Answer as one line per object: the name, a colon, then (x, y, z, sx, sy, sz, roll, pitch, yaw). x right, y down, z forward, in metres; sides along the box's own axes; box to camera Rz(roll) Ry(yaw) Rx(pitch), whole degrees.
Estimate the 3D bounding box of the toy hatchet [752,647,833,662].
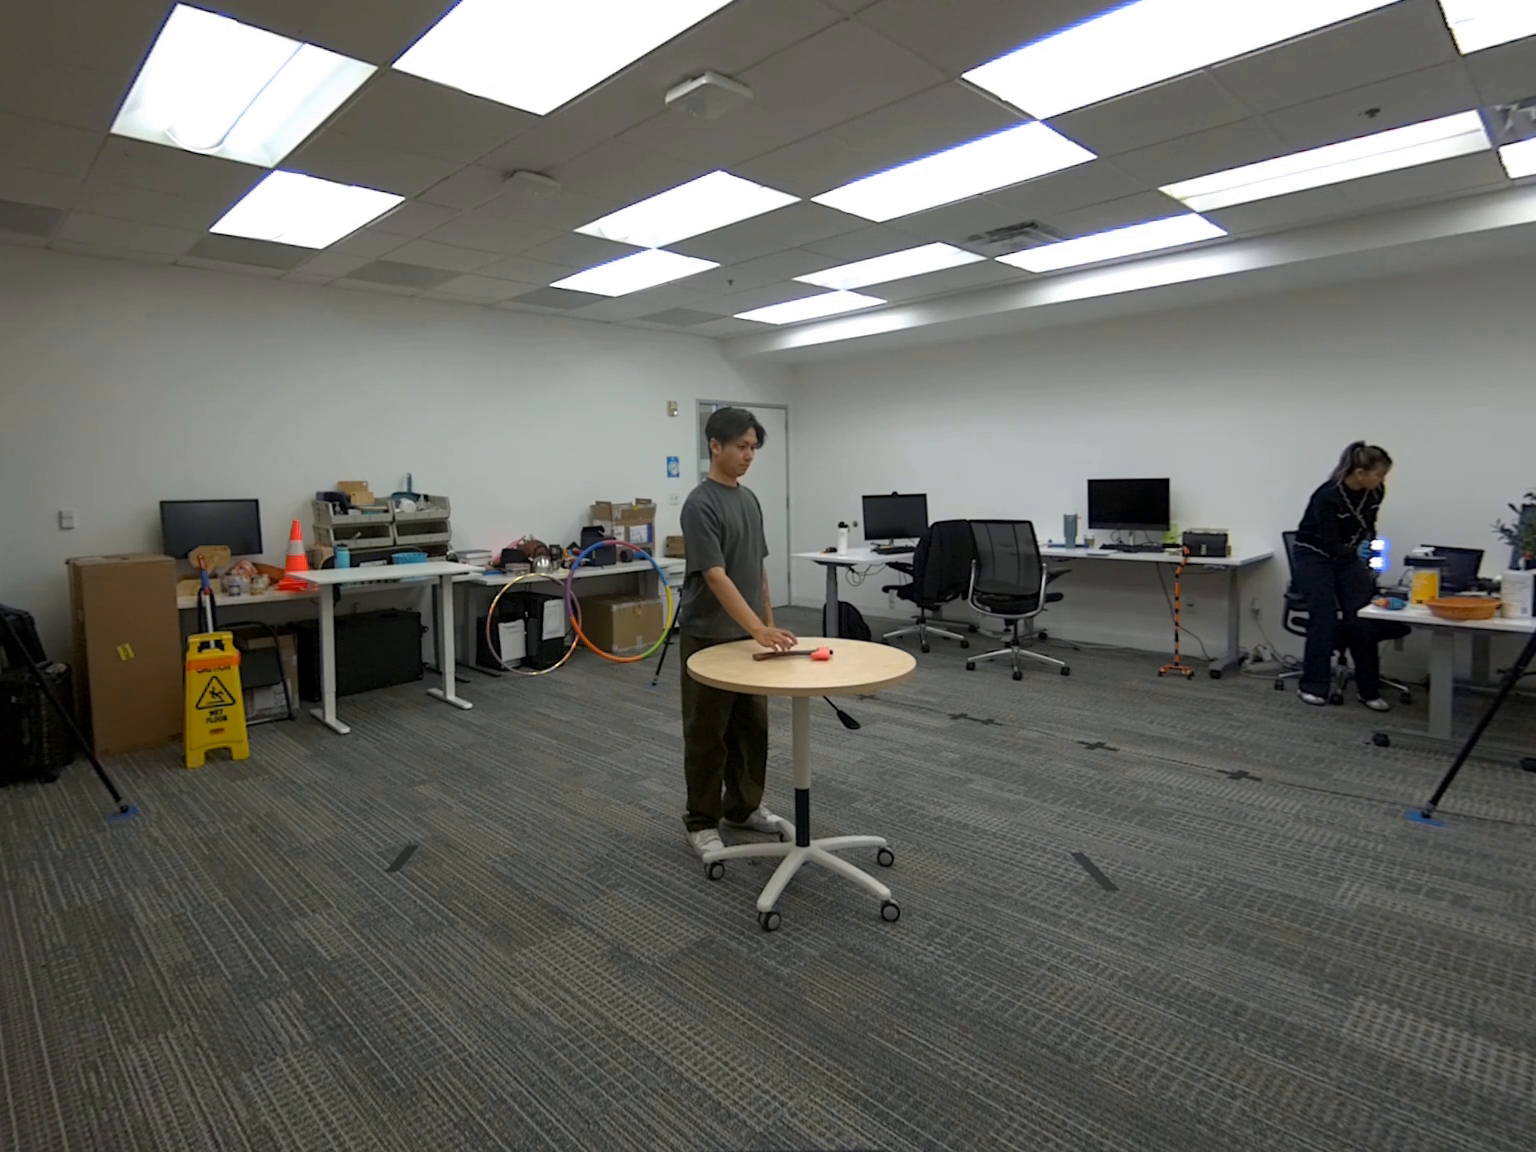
toy hatchet: (0.102, 0.270, 2.889, 0.266, 0.029, 0.134, -5, 9, -19)
